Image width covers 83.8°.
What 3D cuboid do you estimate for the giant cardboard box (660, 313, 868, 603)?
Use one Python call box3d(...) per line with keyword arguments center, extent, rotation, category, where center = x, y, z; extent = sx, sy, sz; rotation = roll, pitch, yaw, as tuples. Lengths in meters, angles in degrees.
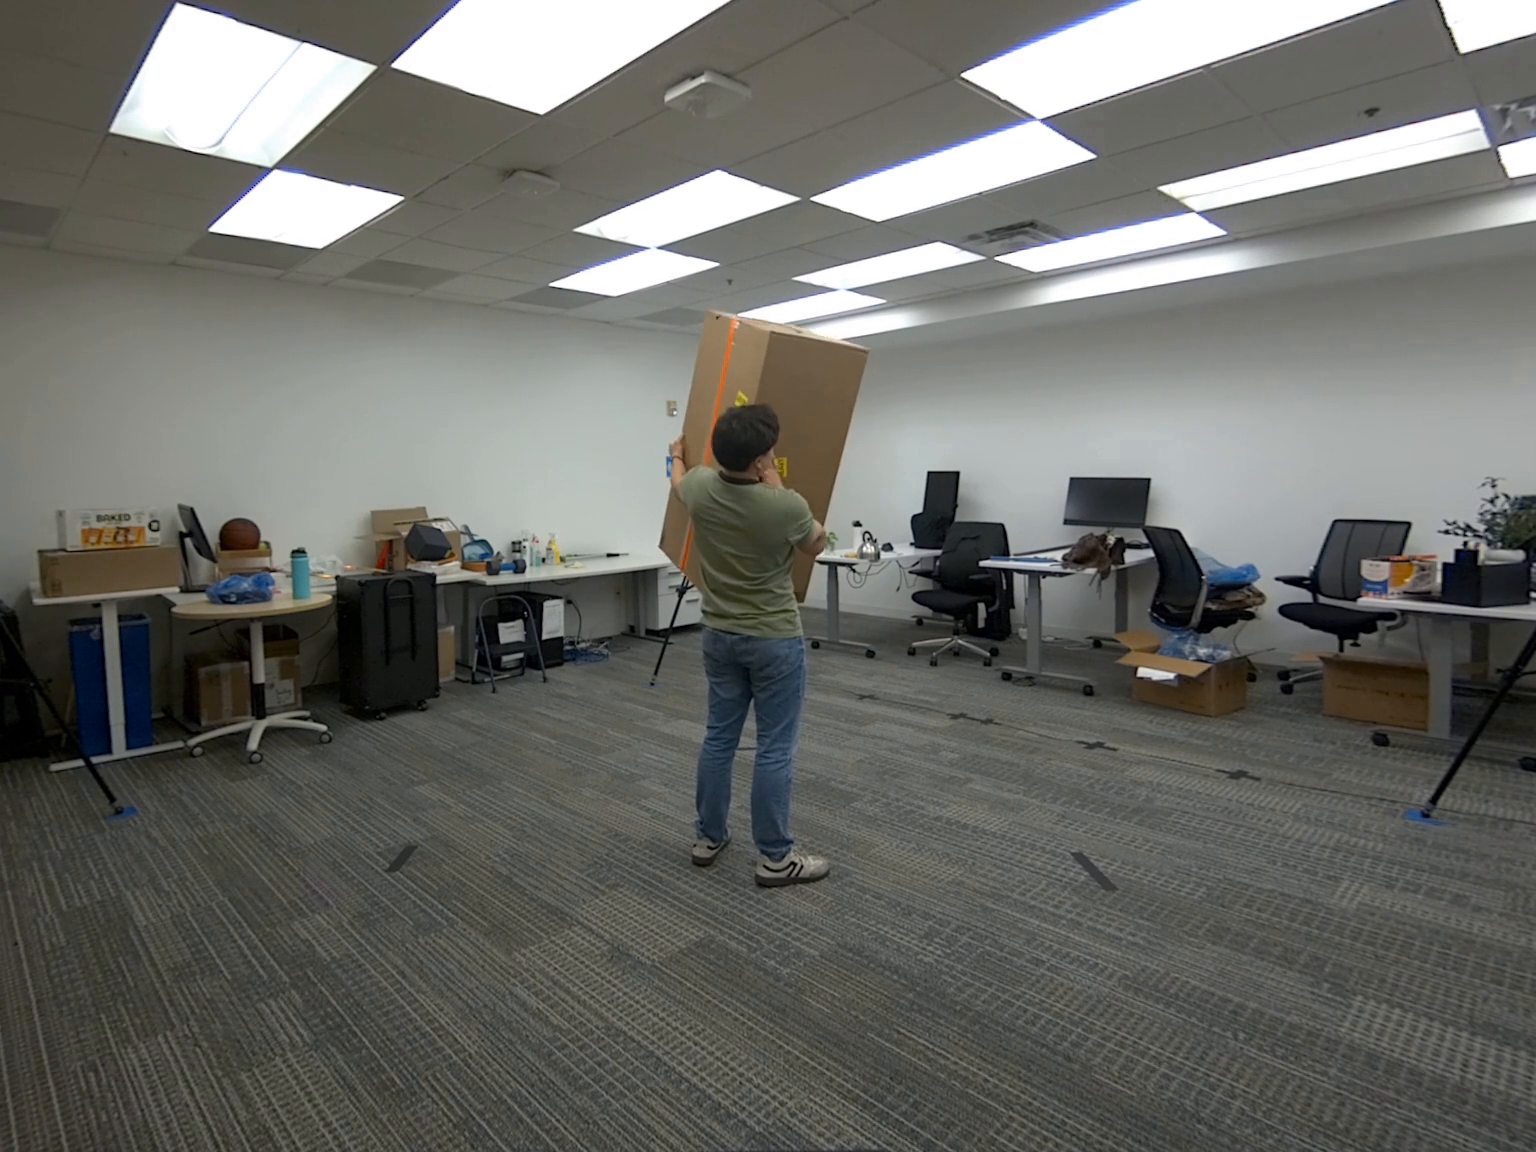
box3d(center=(-0.048, -0.470, 3.404), extent=(0.415, 1.014, 0.599), rotation=(3, 21, -30), category="giant cardboard box")
